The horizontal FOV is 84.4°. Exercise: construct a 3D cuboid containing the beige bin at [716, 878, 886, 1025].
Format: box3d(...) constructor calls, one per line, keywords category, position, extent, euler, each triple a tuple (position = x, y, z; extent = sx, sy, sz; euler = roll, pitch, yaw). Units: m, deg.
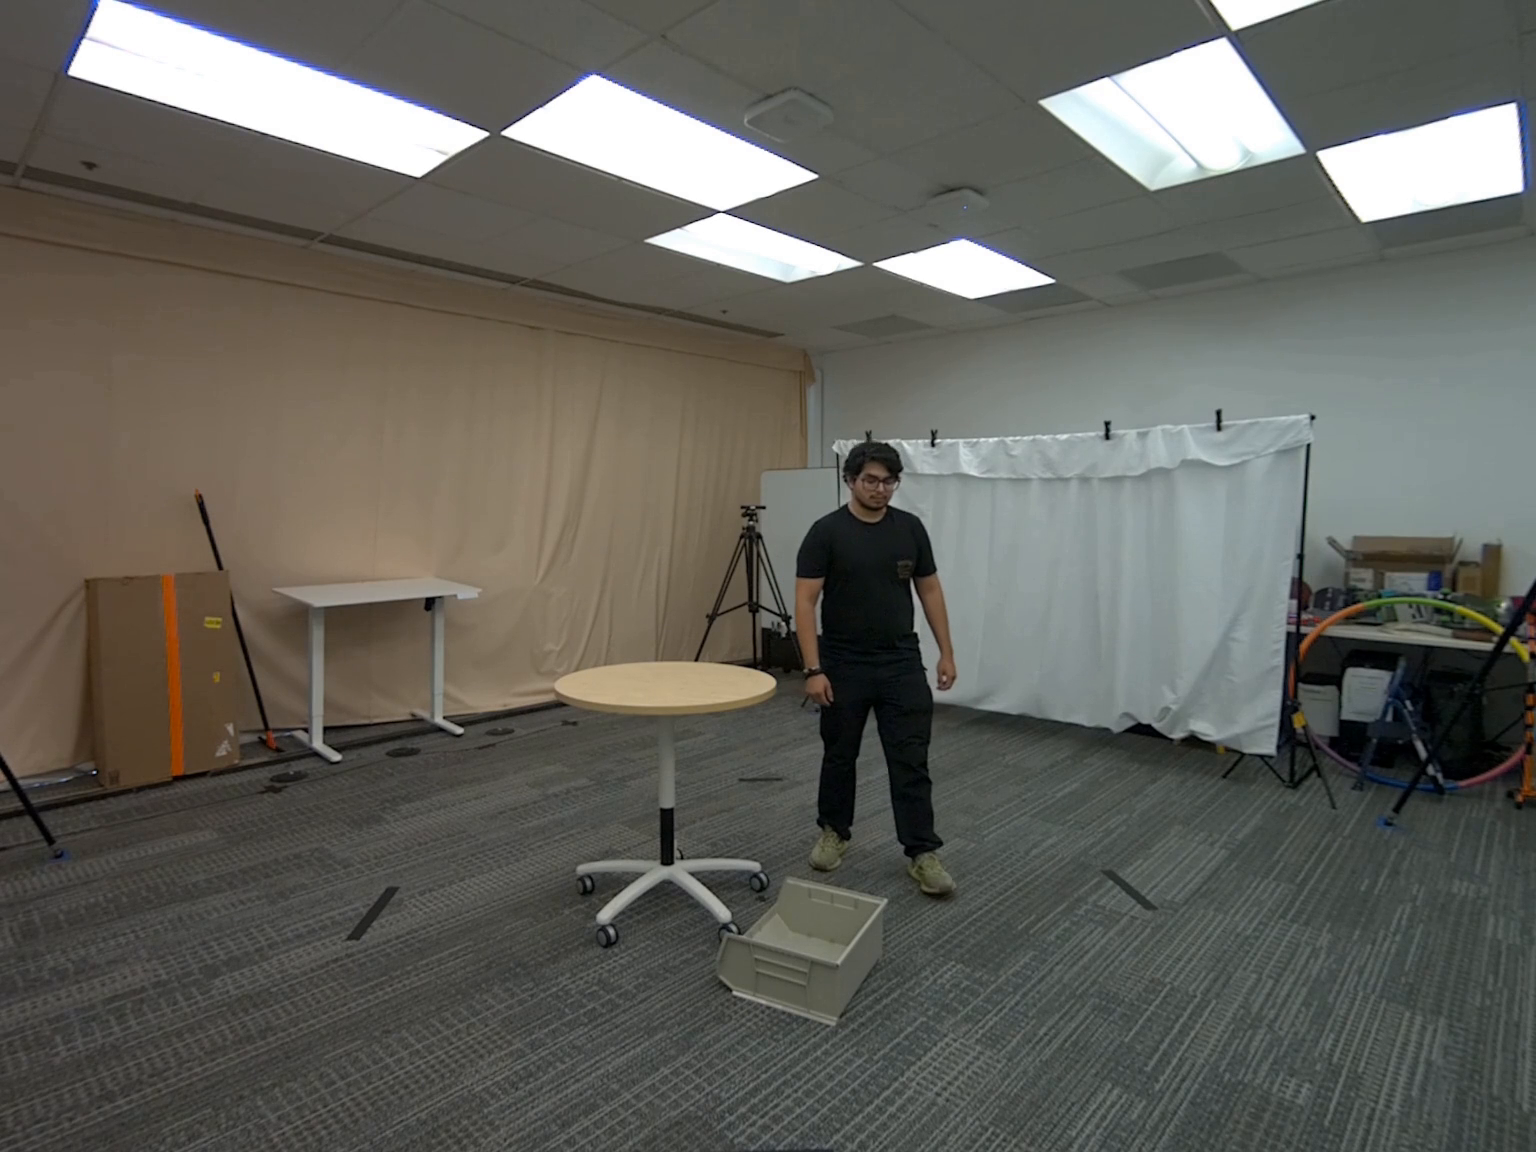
box3d(category="beige bin", position=(0.111, 1.096, 2.501), extent=(0.388, 0.188, 0.412), euler=(3, 5, 27))
